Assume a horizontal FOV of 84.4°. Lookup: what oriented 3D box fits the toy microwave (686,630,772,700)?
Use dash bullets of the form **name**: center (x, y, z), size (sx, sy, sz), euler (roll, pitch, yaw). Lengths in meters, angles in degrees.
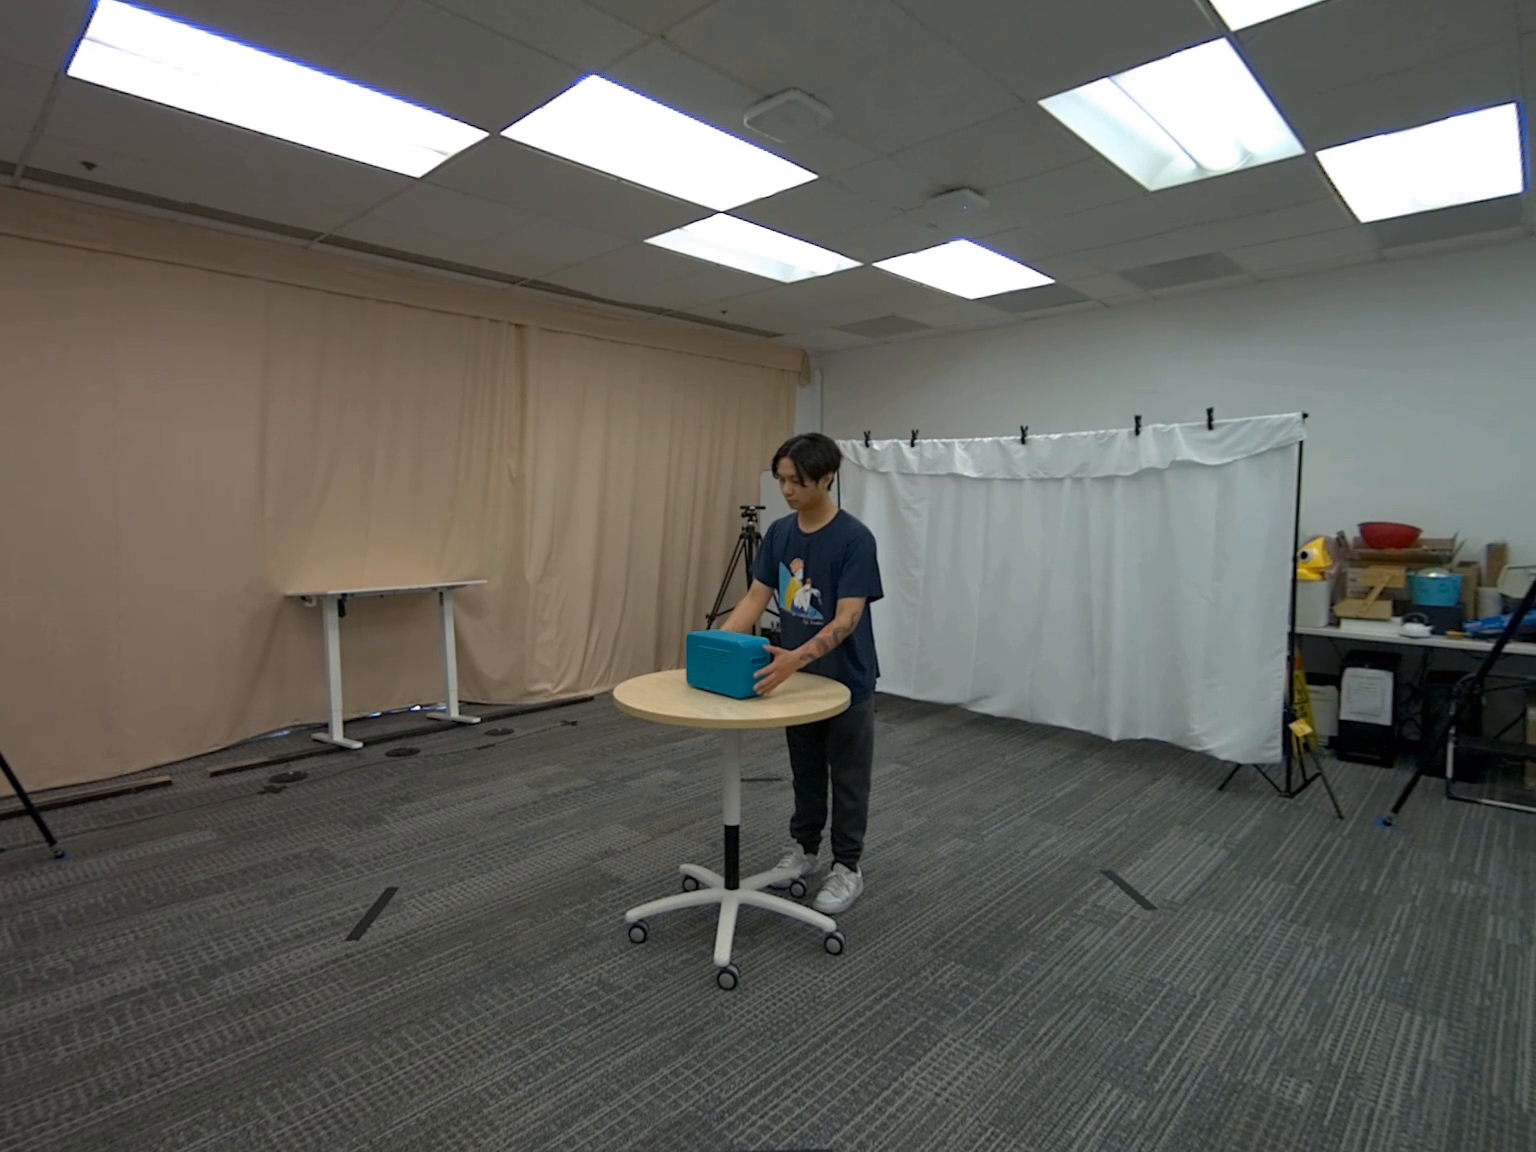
- **toy microwave**: center (-0.122, 0.285, 2.706), size (0.148, 0.183, 0.296), euler (-4, 7, -39)
